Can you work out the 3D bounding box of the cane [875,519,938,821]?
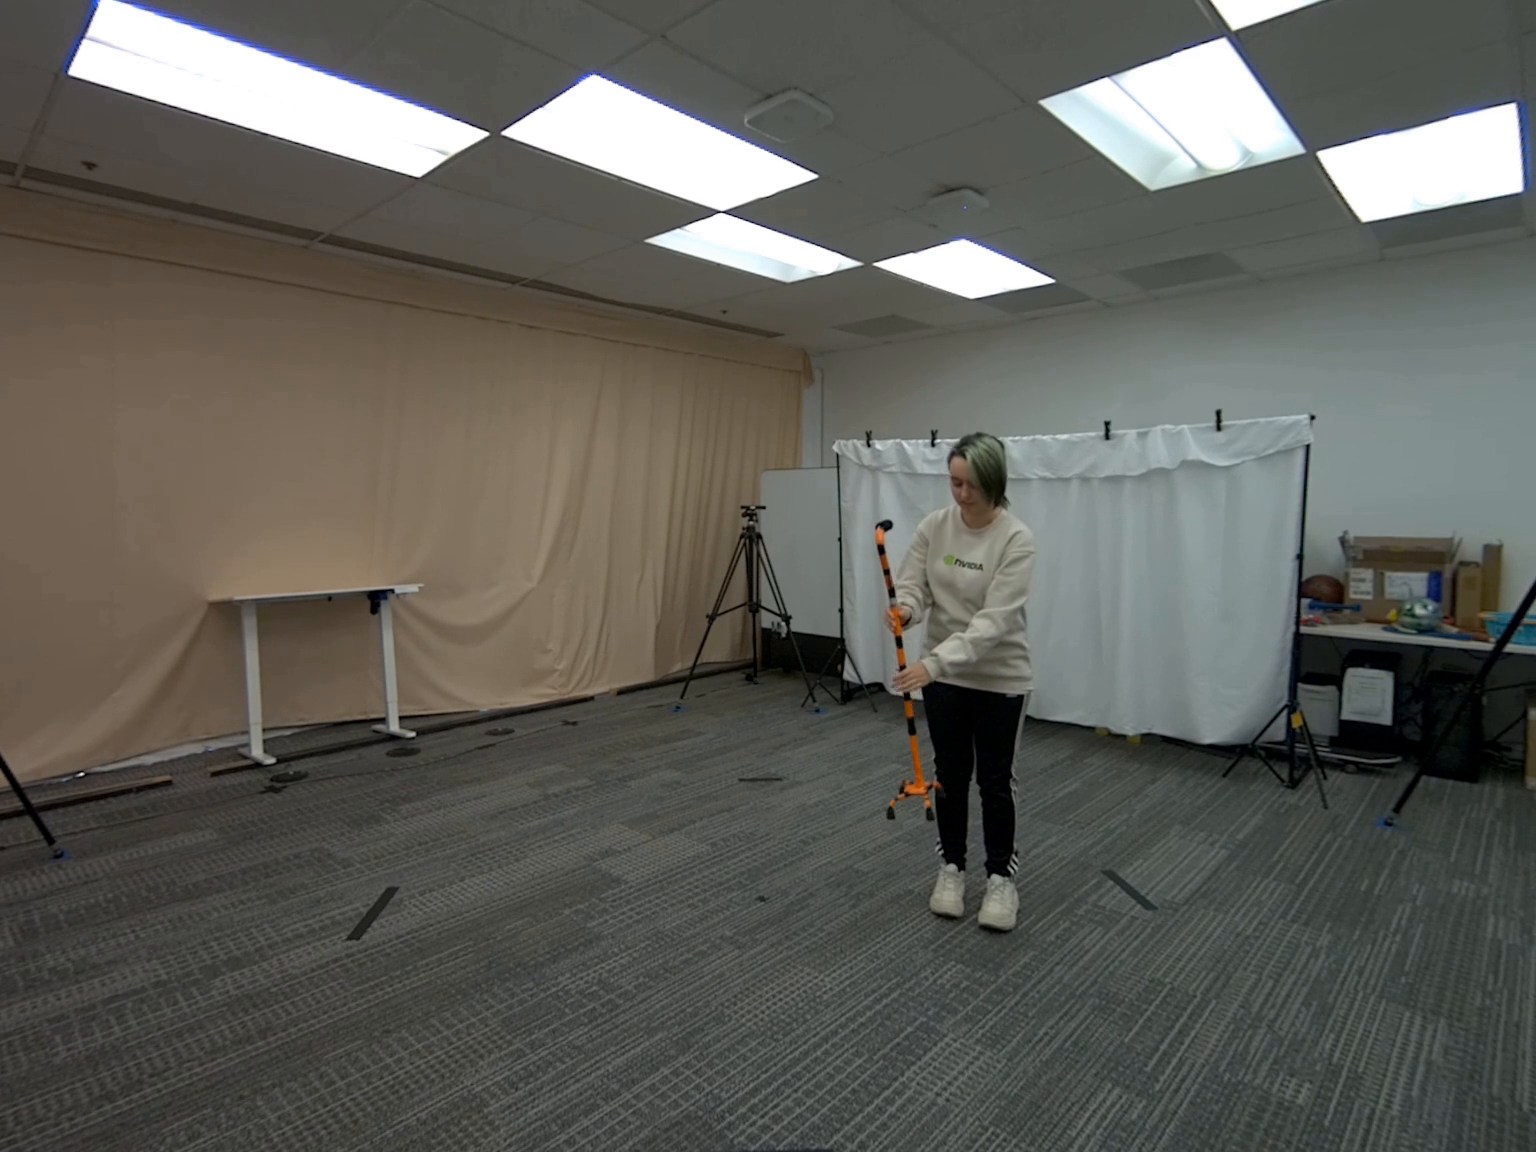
[{"bbox_3d":[0.418,0.304,2.633,0.154,0.905,0.203,-6,4,19],"label":"cane"}]
